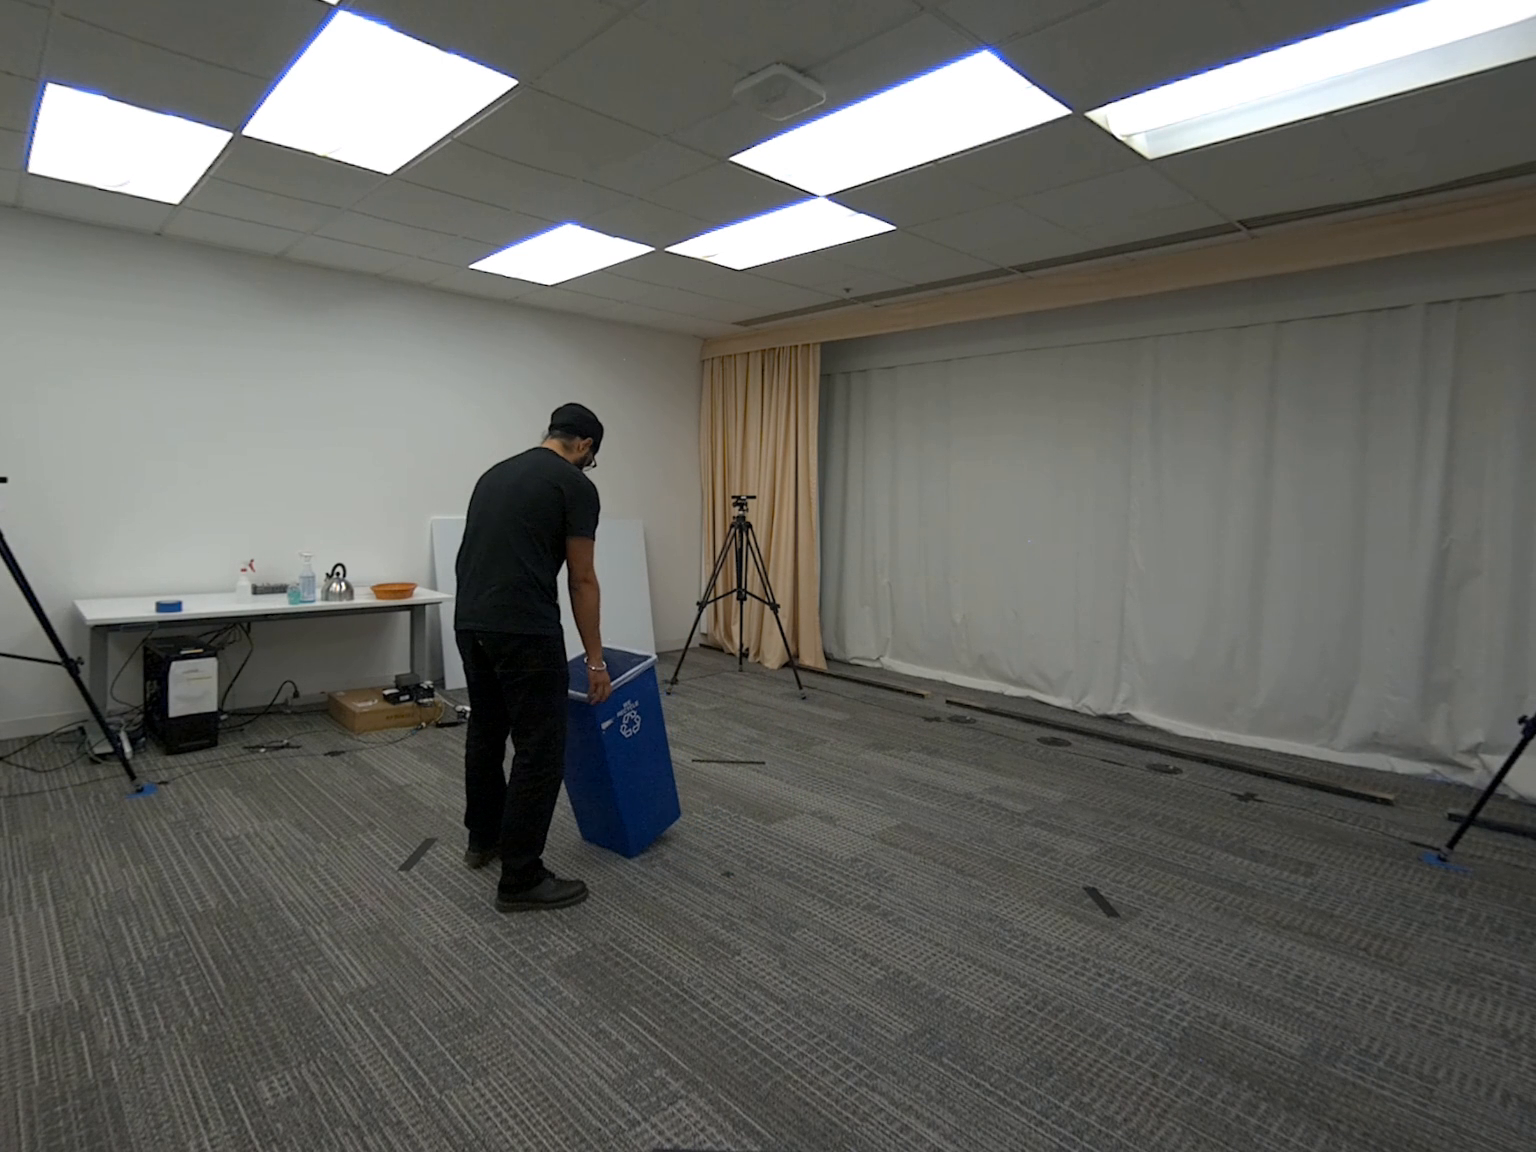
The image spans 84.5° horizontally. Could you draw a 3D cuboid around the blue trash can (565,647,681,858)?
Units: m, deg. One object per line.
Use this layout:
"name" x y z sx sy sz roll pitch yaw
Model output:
"blue trash can" -0.617 0.692 3.300 0.387 0.704 0.370 3 20 37
